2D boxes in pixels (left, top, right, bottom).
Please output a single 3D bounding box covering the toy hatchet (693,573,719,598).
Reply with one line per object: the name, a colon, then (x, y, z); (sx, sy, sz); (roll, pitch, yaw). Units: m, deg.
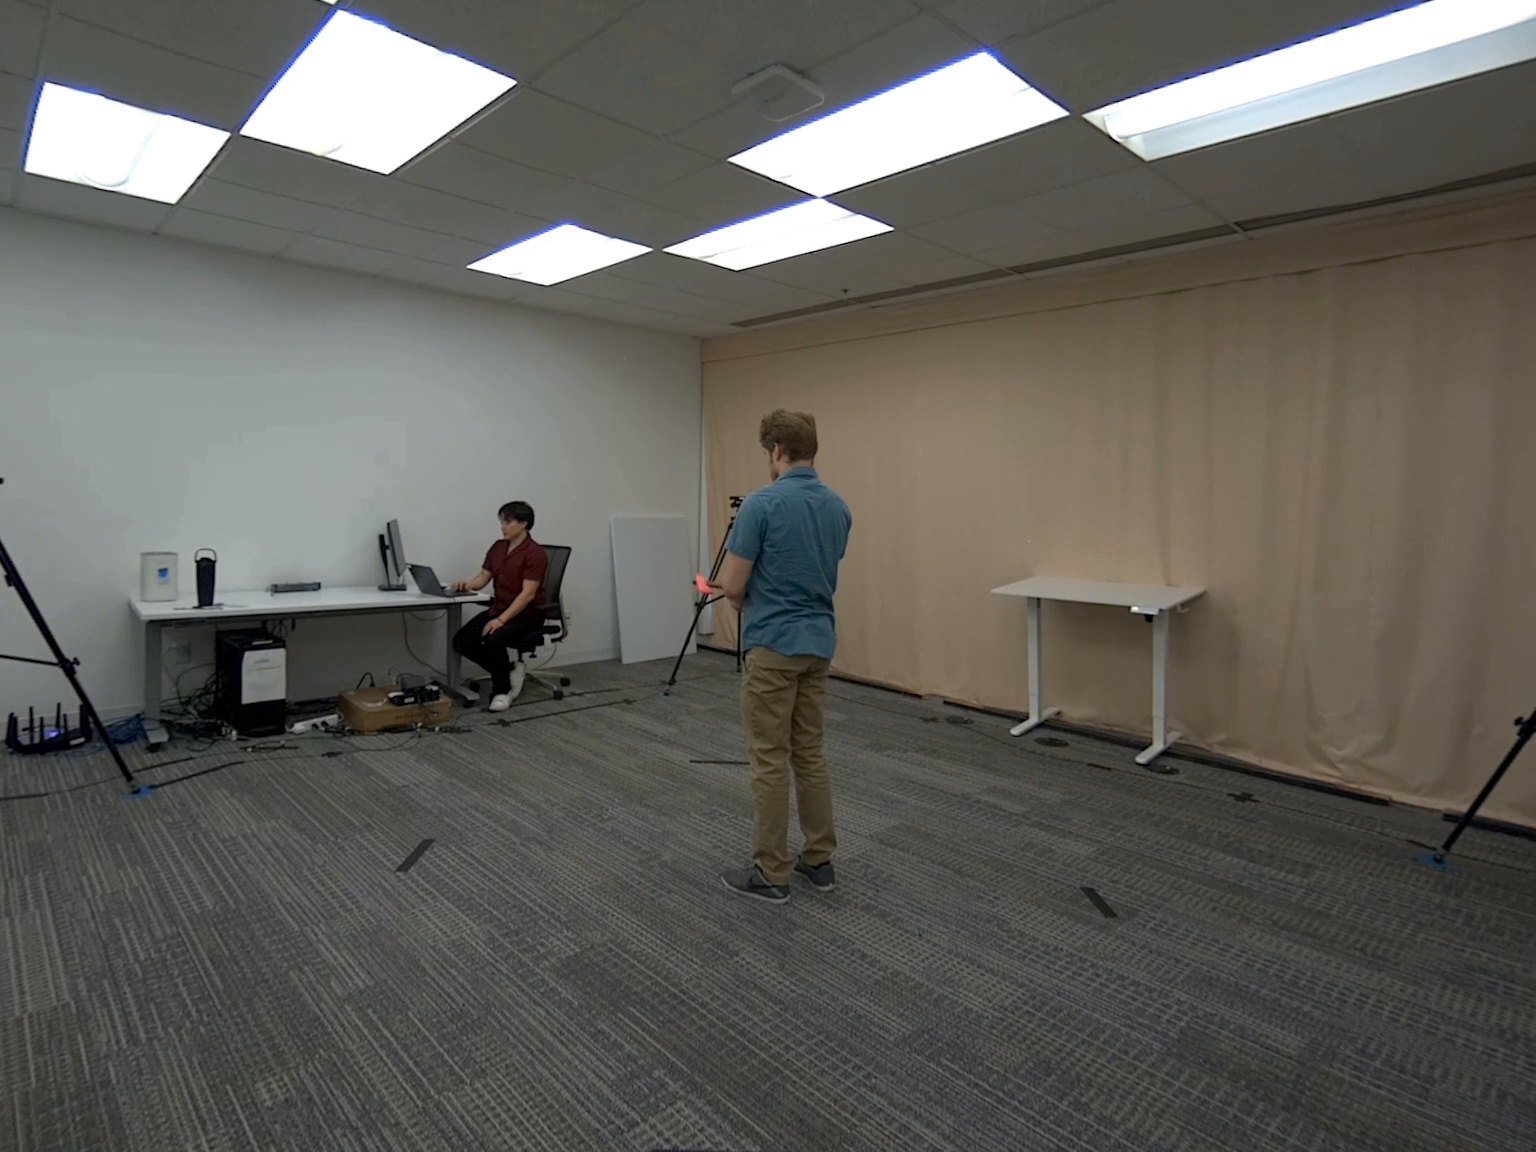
toy hatchet: (-0.167, 0.067, 3.317); (0.273, 0.029, 0.131); (18, 28, 9)
